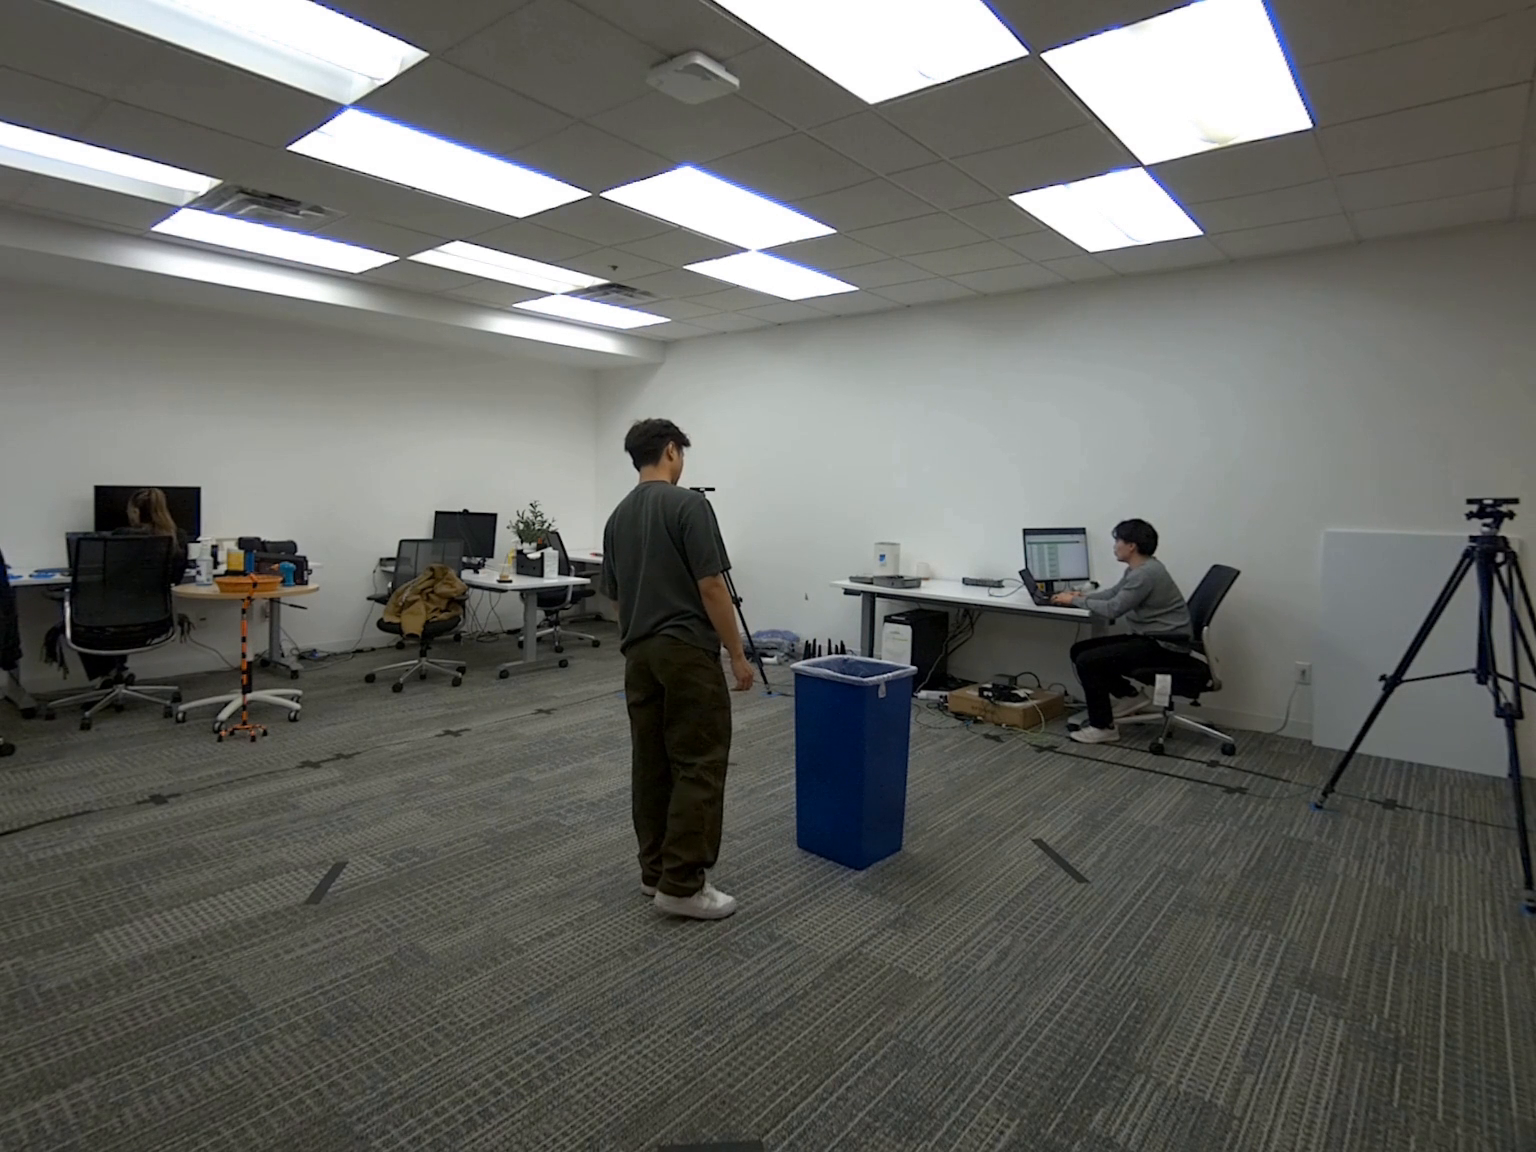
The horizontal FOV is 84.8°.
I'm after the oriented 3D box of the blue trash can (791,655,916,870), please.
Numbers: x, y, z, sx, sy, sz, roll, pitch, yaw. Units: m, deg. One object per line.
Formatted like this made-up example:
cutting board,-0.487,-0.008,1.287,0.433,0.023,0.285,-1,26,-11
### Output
blue trash can,0.314,0.699,3.310,0.387,0.712,0.366,4,4,42
